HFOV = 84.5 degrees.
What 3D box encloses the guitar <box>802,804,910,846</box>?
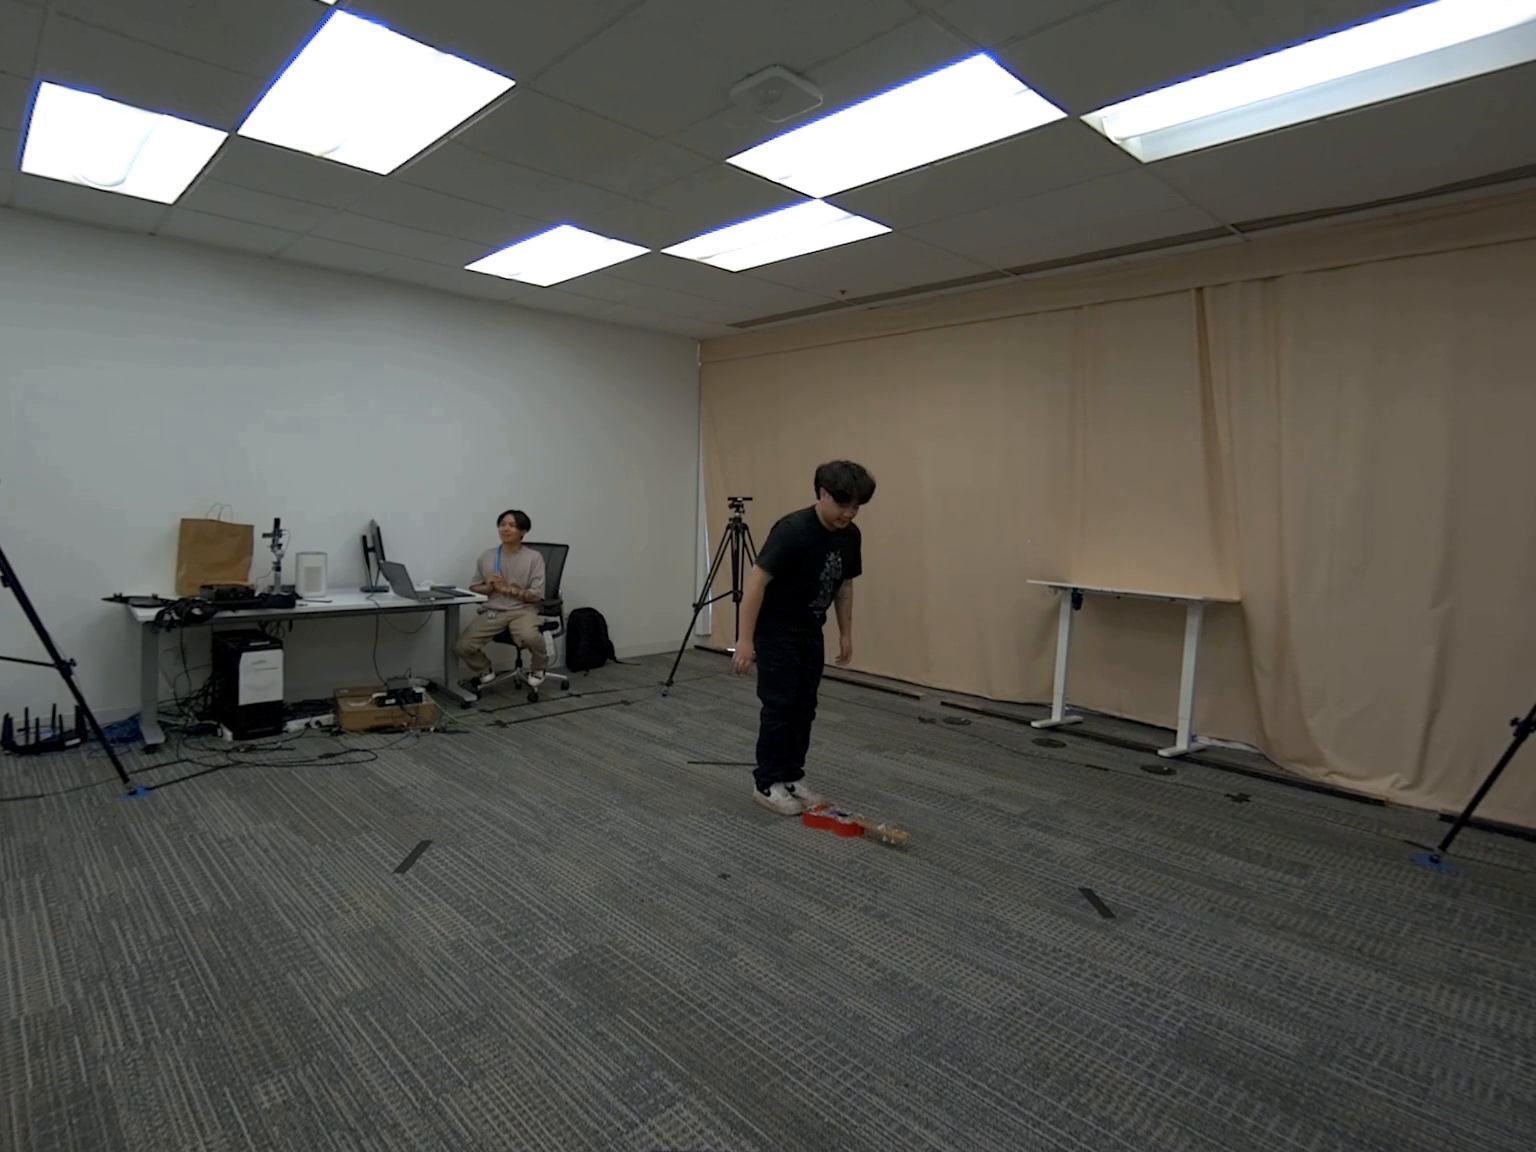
[{"bbox_3d":[0.336,1.047,3.523,0.188,0.070,0.510,-1,4,-38],"label":"guitar"}]
